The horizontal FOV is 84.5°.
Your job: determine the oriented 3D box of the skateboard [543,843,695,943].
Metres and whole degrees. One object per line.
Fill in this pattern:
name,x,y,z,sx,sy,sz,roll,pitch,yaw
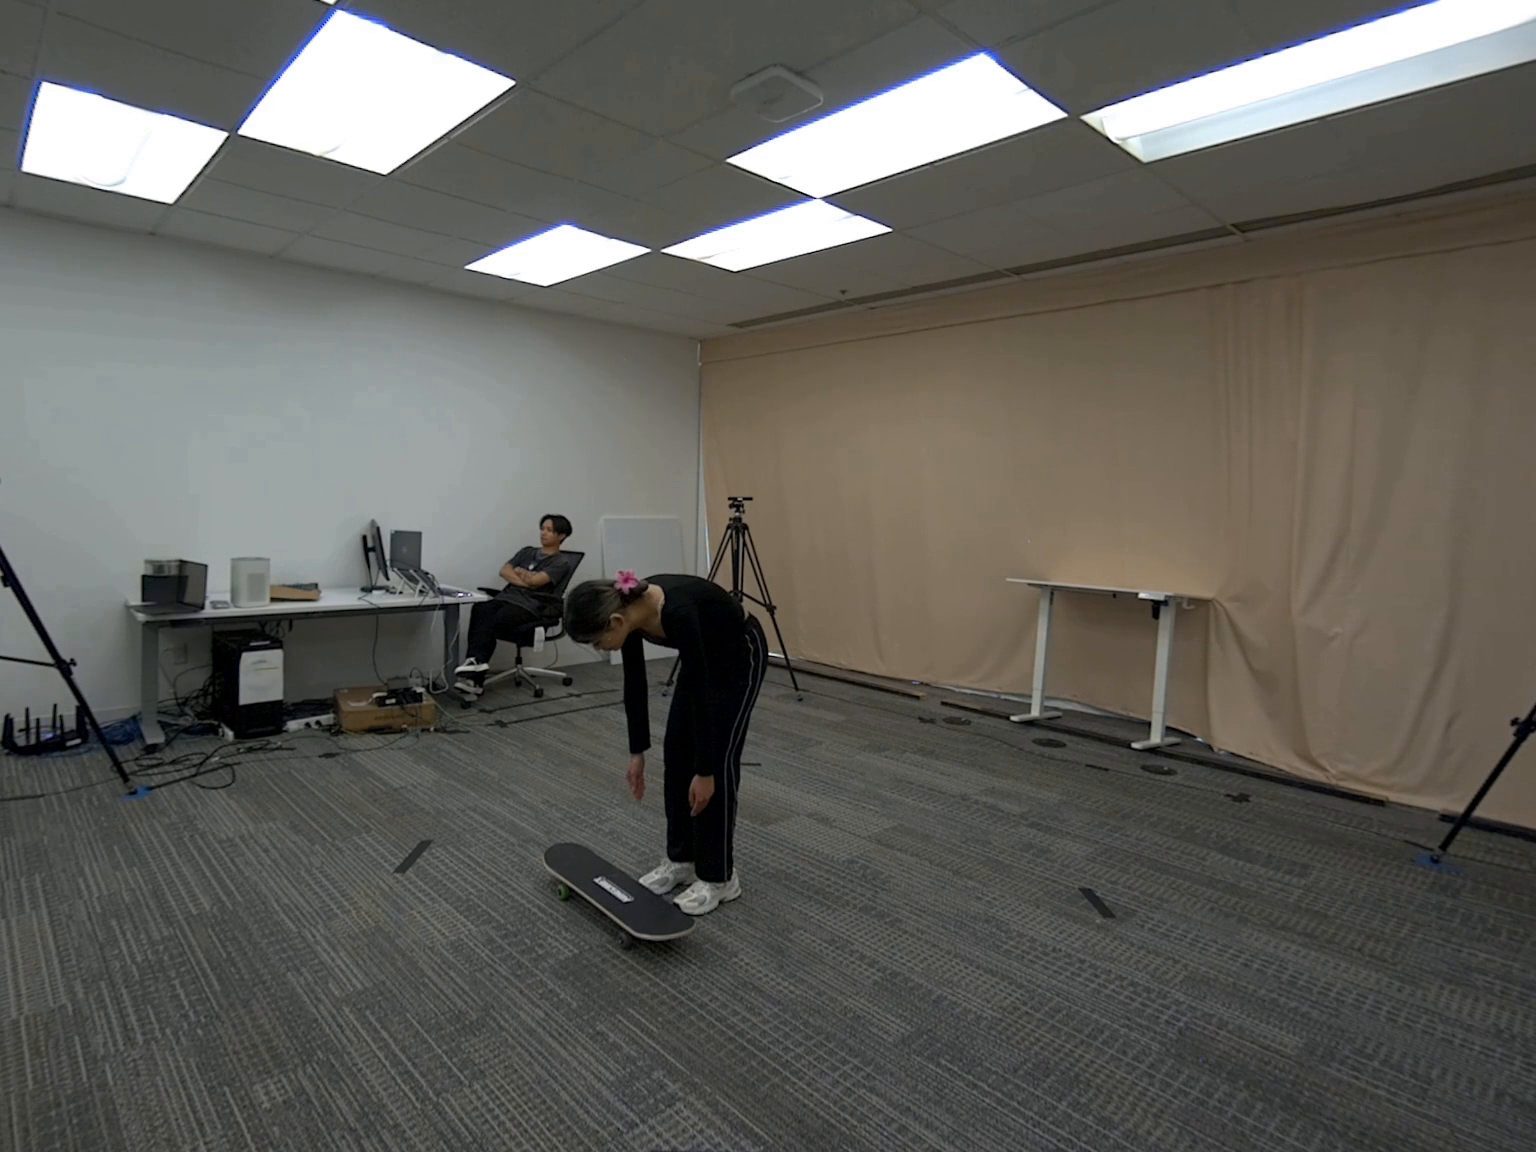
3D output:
skateboard,-0.536,1.081,2.786,0.189,0.110,0.806,-4,7,-41
